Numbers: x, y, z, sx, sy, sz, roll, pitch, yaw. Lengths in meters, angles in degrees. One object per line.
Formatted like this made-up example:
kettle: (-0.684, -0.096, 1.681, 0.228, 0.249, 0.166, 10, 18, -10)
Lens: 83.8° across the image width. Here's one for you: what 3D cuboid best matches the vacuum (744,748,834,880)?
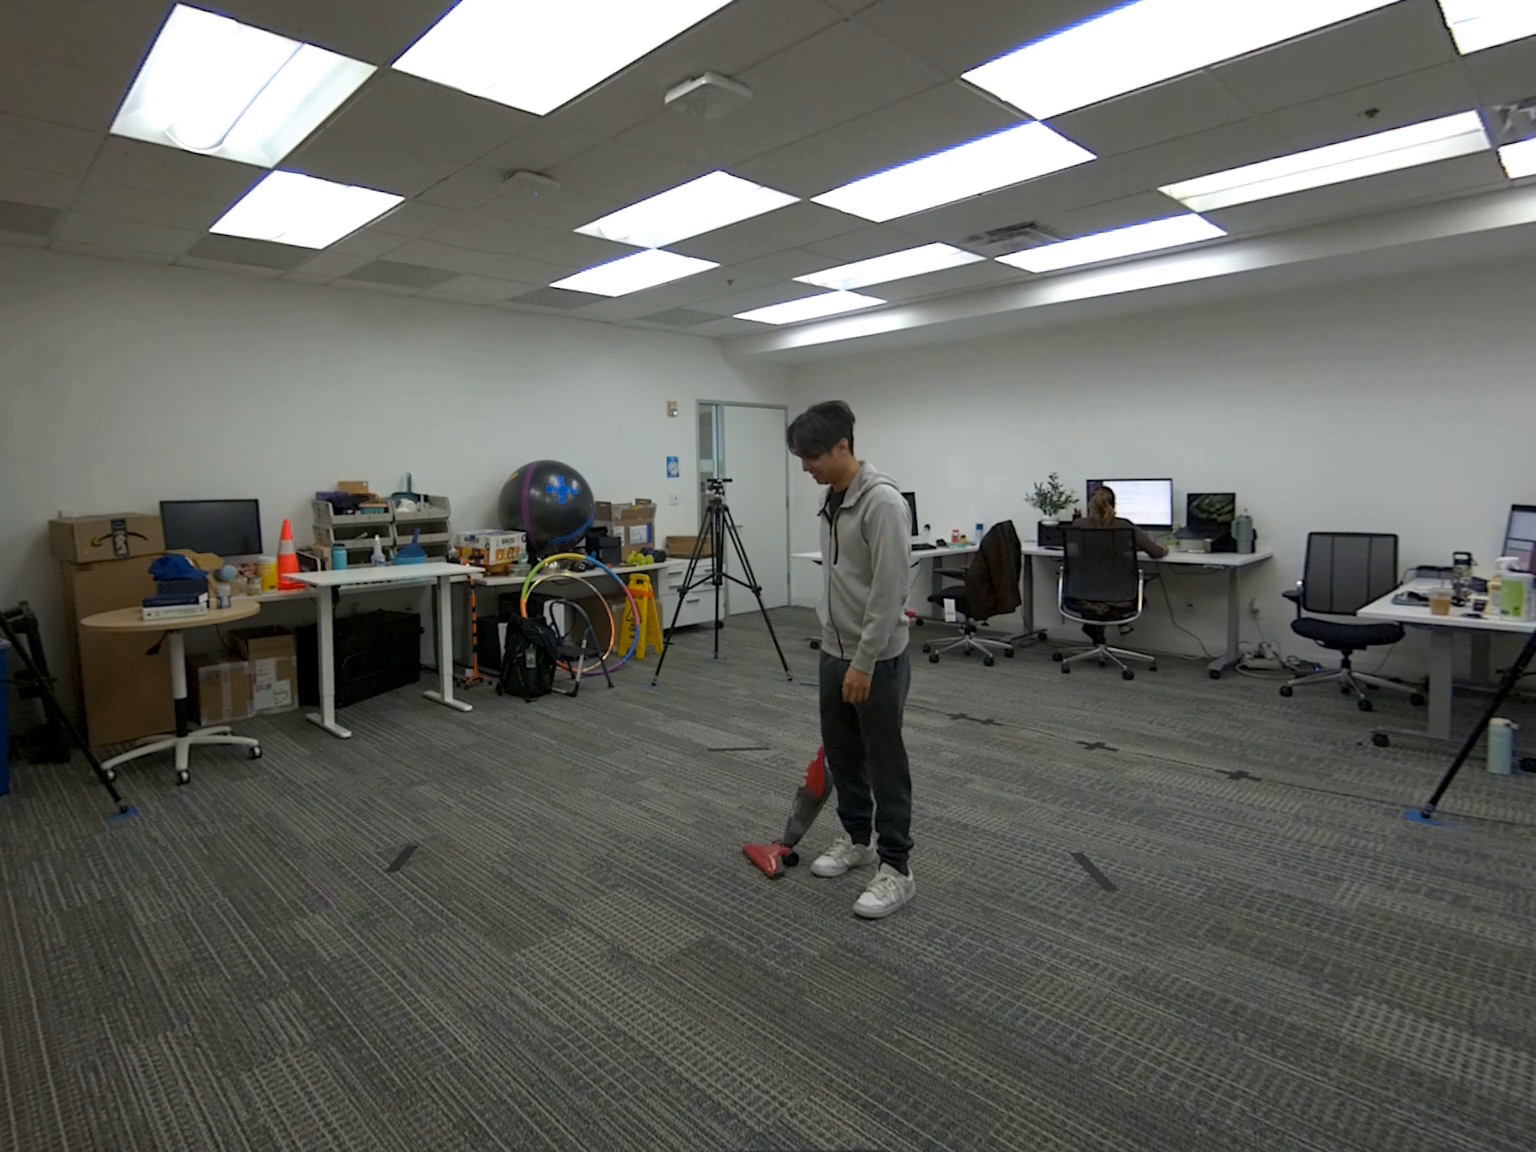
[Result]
vacuum: (0.267, 0.611, 3.197, 0.140, 1.052, 0.259, 38, -13, -24)
